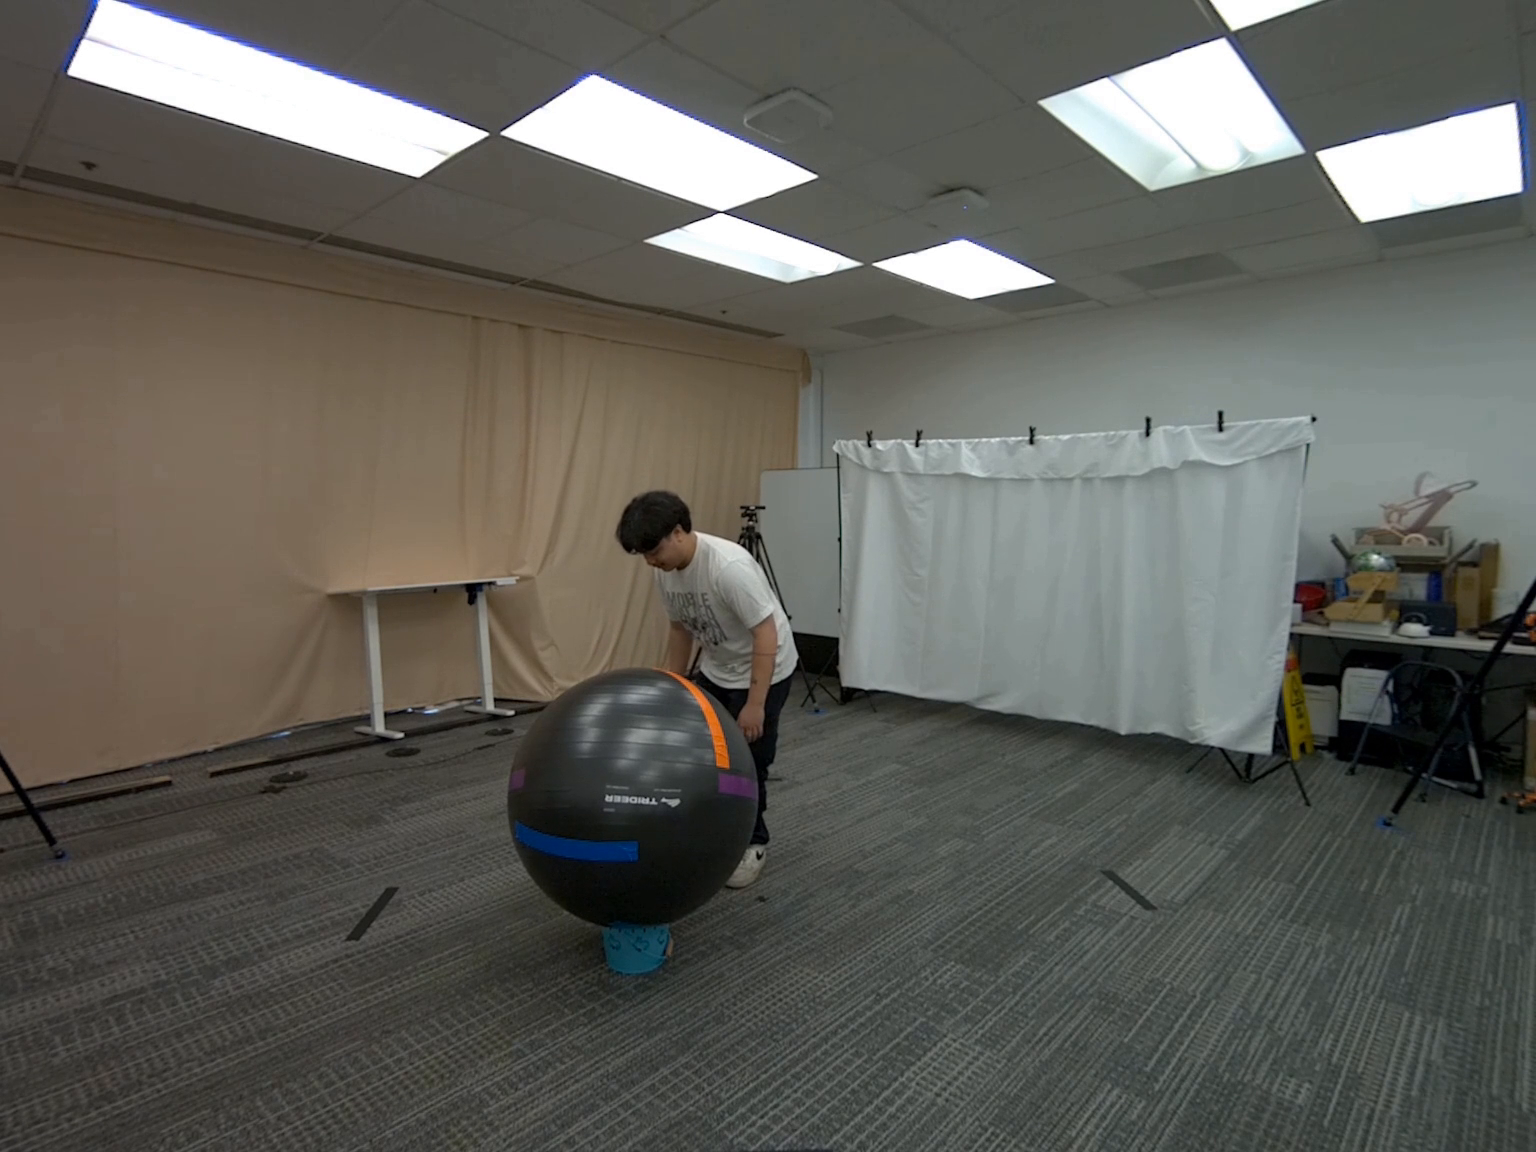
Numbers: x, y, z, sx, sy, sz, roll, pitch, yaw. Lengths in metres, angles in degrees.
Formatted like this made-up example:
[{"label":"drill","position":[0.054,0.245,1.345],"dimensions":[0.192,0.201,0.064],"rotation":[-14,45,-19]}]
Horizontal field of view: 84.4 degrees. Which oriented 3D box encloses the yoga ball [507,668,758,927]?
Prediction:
[{"label":"yoga ball","position":[-0.410,0.664,2.584],"dimensions":[0.757,0.756,0.761],"rotation":[0,4,-2]}]
